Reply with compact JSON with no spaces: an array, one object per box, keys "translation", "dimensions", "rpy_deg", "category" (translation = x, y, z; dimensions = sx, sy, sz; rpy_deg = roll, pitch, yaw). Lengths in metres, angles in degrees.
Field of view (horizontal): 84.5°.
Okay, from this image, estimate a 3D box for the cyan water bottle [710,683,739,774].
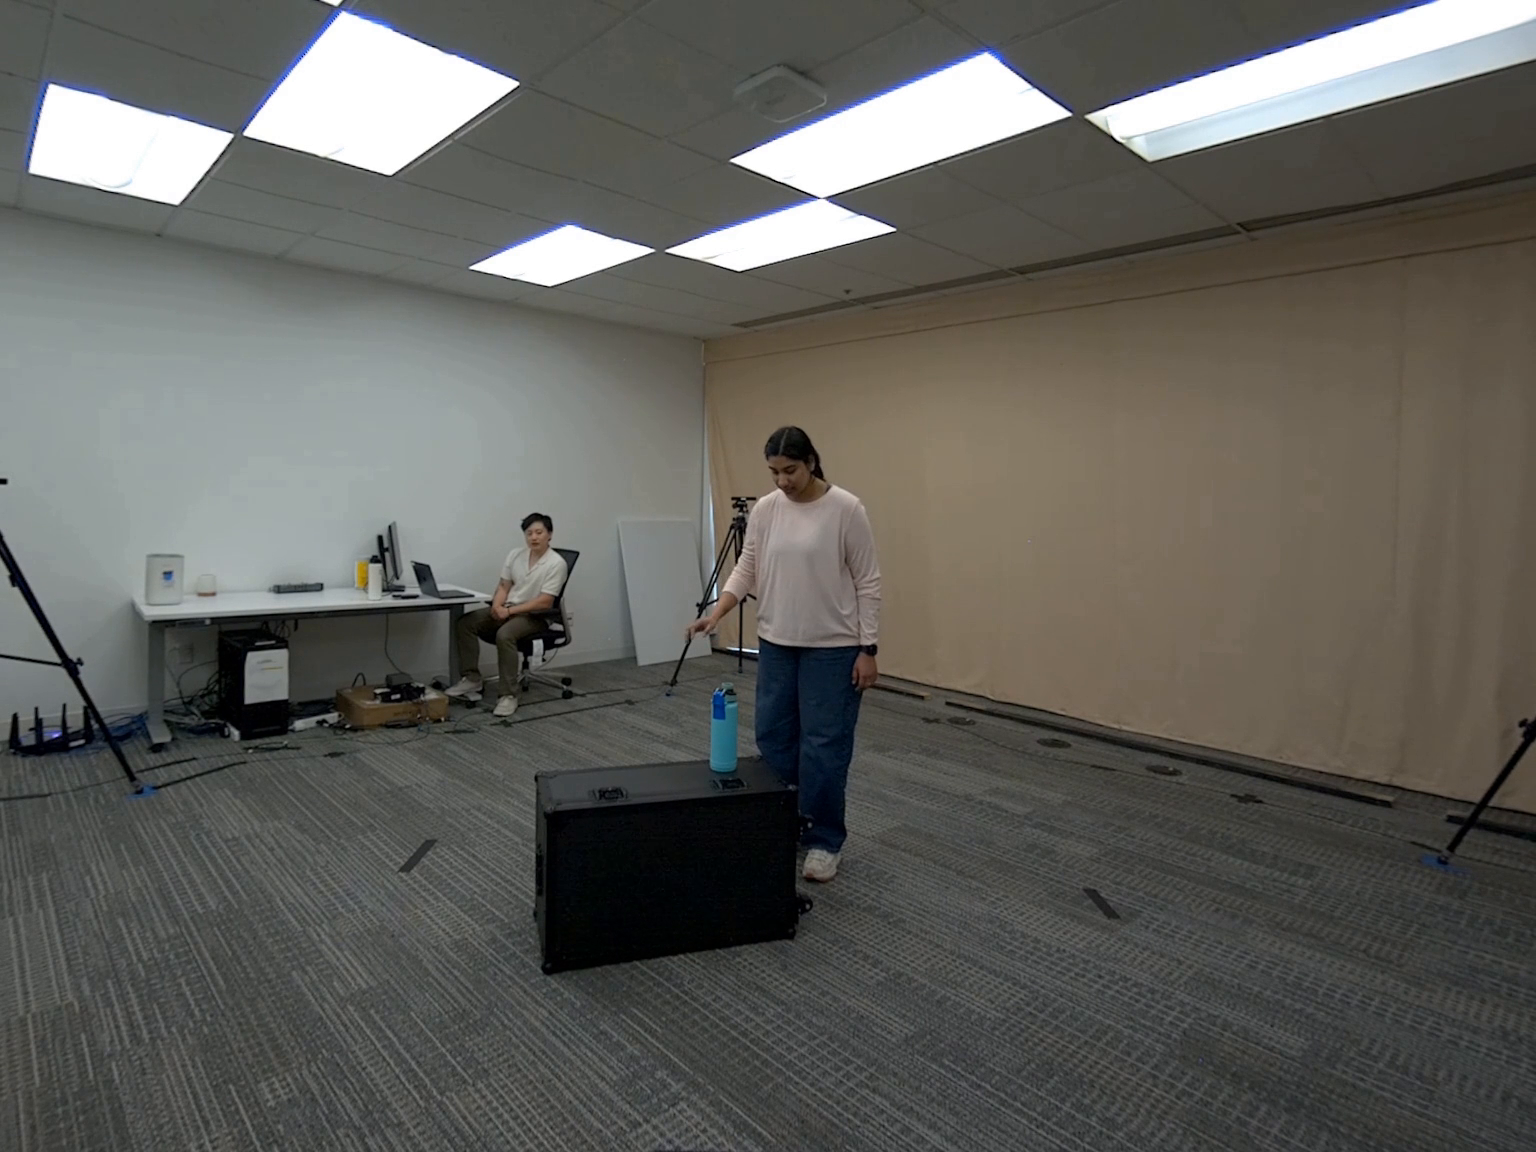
[{"translation":[-0.156,0.508,2.821],"dimensions":[0.092,0.282,0.093],"rpy_deg":[2,5,-2],"category":"cyan water bottle"}]
